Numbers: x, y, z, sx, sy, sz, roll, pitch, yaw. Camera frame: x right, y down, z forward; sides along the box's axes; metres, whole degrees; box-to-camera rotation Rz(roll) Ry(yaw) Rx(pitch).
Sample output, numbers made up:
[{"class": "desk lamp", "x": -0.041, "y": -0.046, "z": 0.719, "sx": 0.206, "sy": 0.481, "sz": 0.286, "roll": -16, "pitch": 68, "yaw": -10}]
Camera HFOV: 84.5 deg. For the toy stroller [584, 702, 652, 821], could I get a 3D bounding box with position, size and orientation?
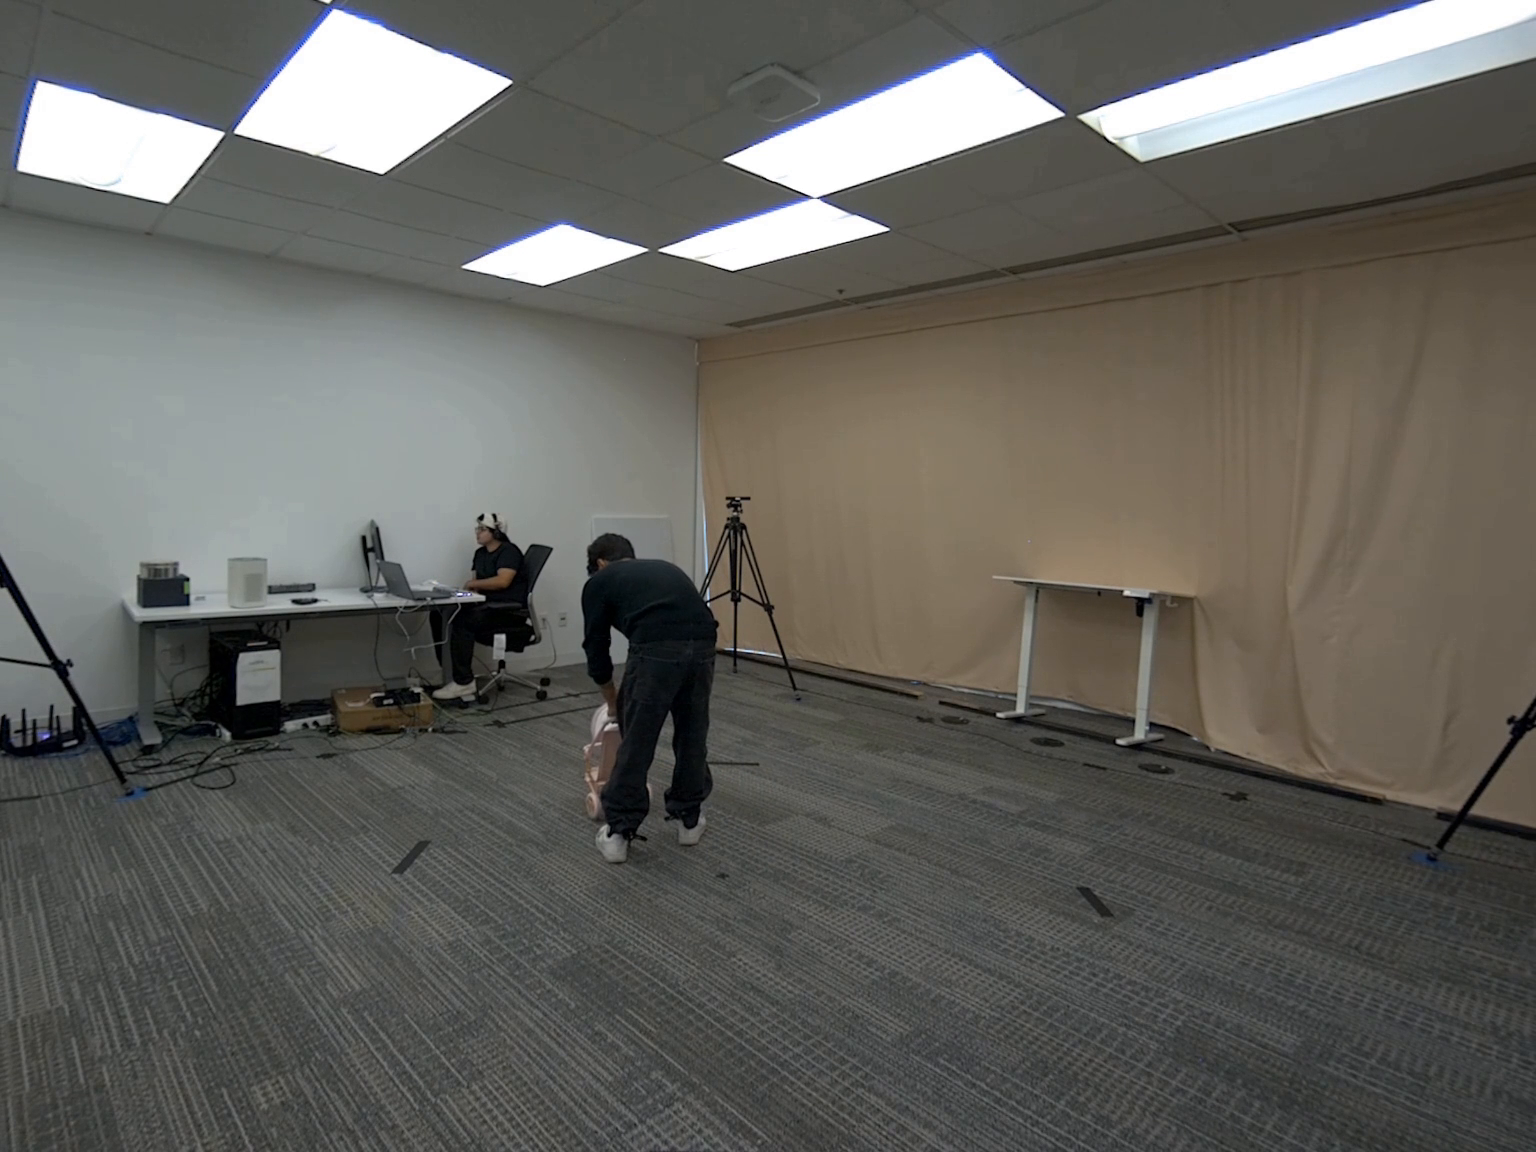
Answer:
[{"class": "toy stroller", "x": -0.691, "y": 0.799, "z": 3.730, "sx": 0.276, "sy": 0.530, "sz": 0.351, "roll": -2, "pitch": 14, "yaw": -28}]
